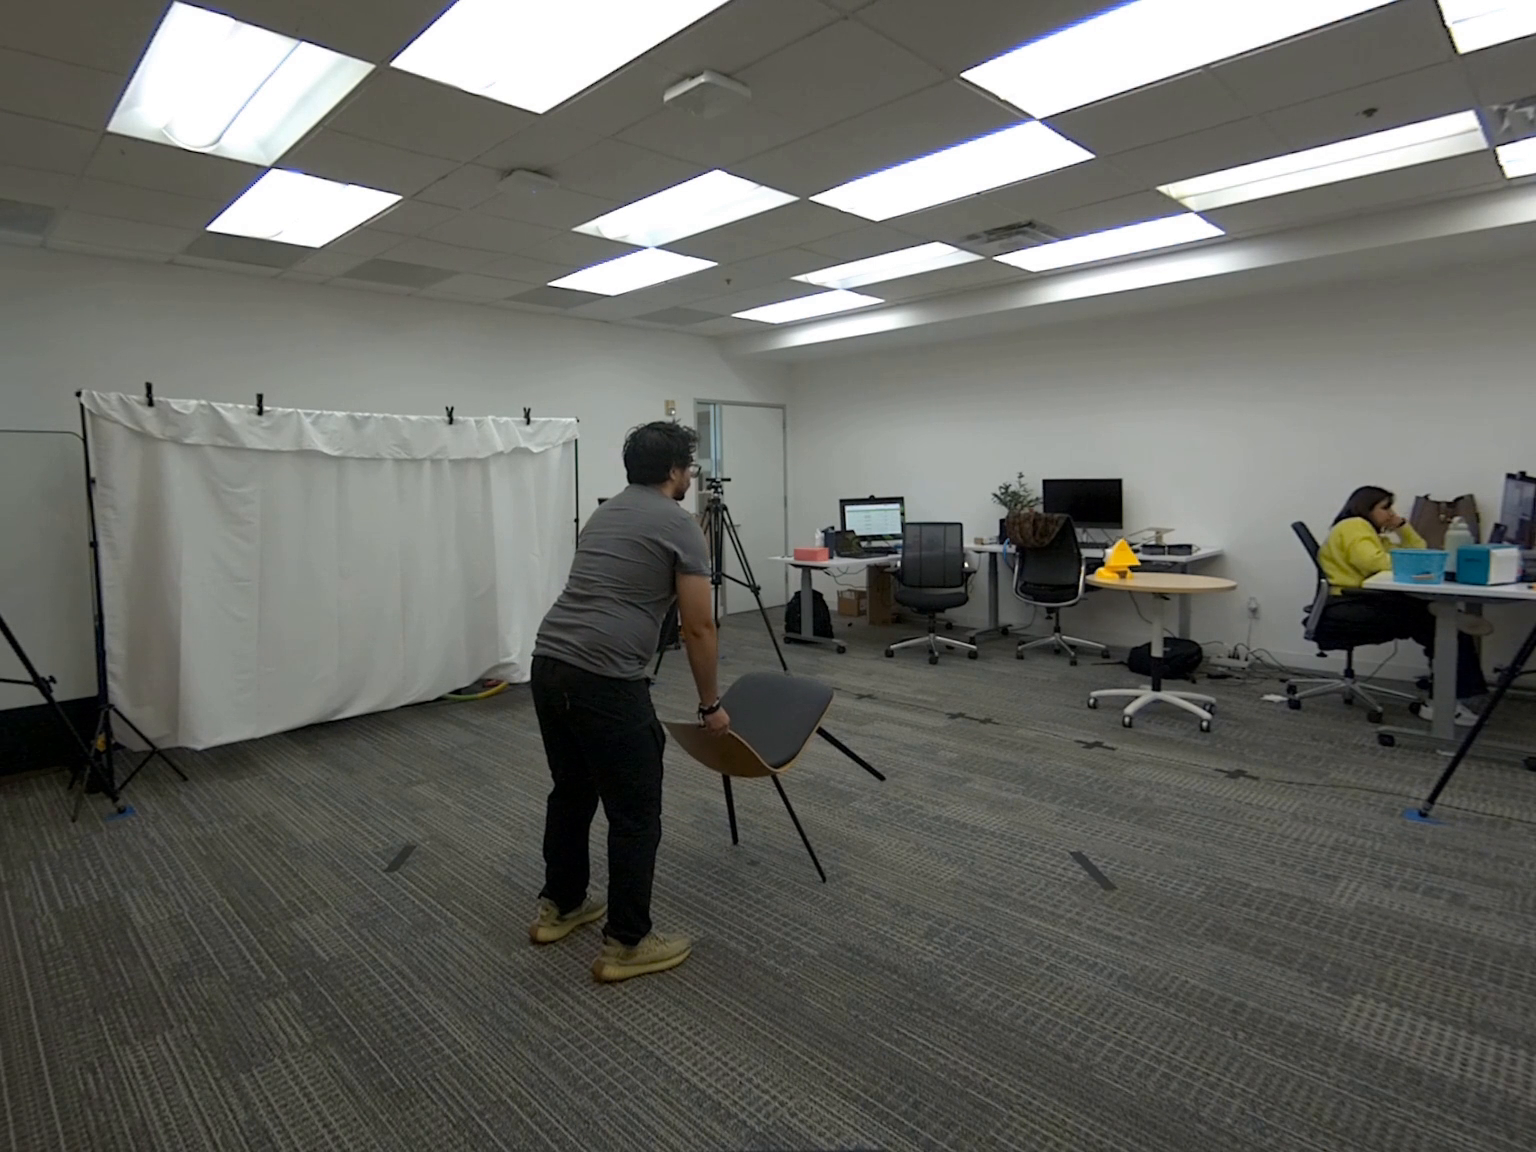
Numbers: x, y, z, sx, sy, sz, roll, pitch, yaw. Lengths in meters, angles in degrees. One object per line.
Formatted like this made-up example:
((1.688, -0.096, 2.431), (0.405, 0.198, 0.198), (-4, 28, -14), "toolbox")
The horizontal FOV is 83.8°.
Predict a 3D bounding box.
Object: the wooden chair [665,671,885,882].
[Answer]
((-0.020, 0.567, 3.027), (0.493, 0.848, 0.525), (4, 48, 45), "wooden chair")
